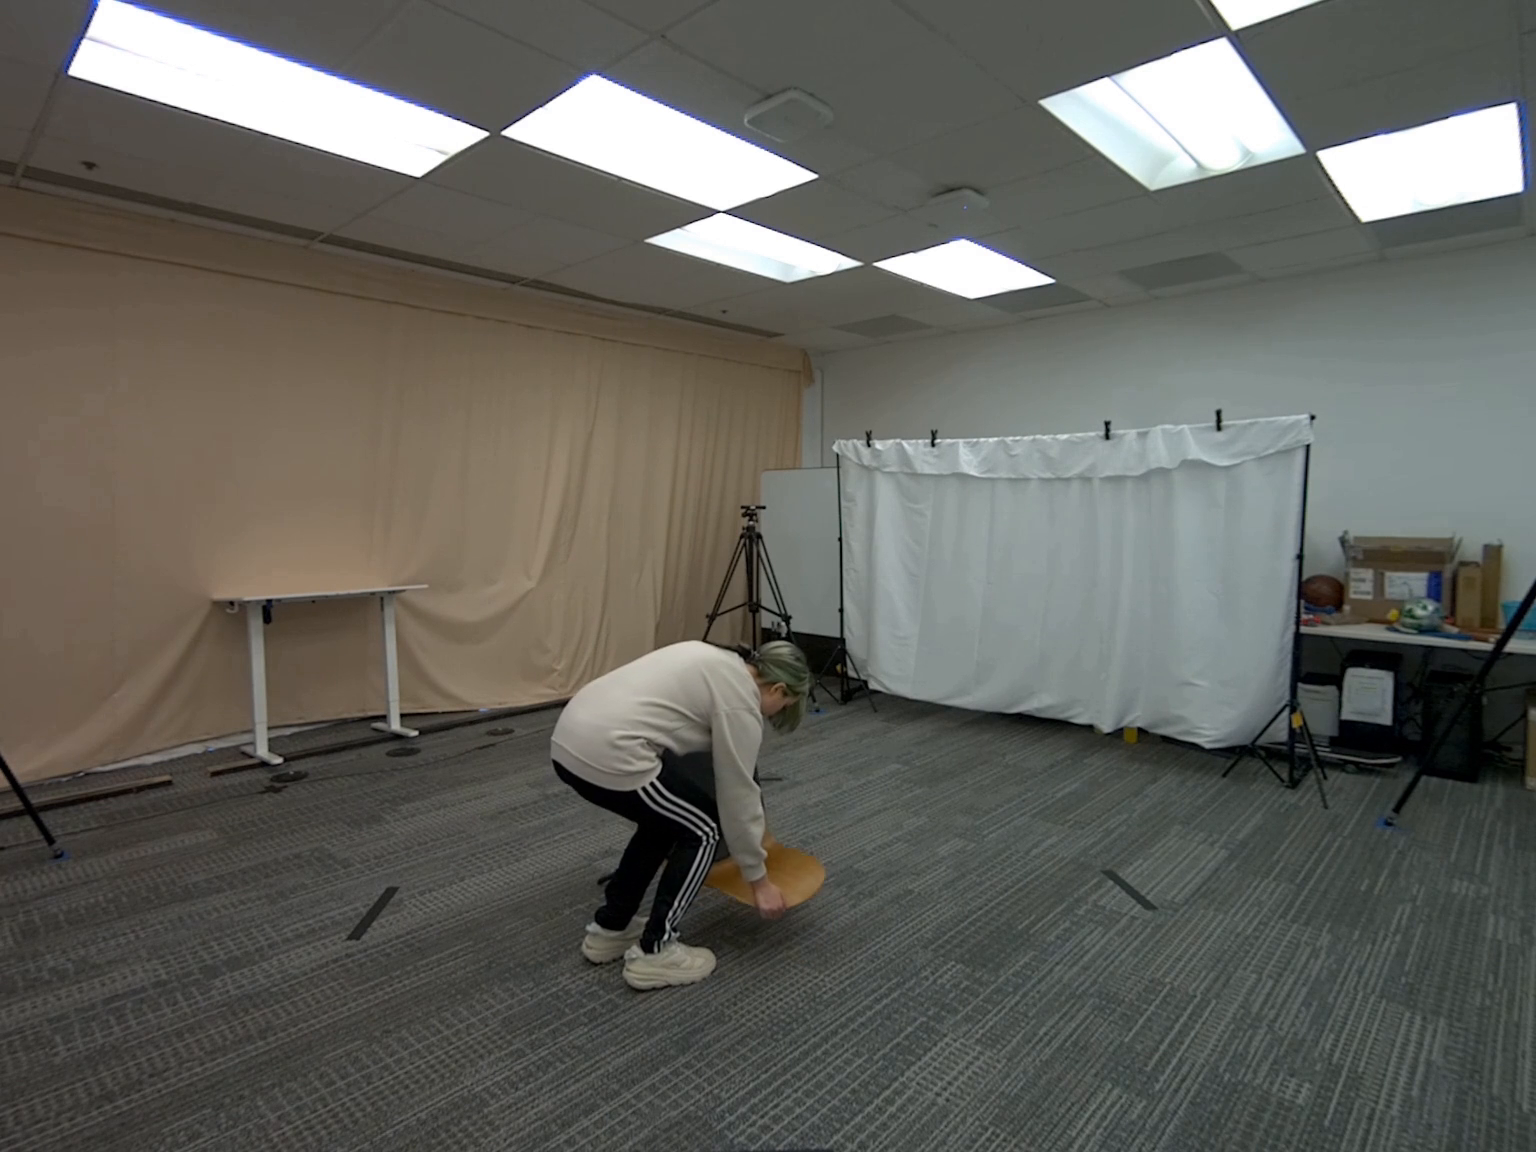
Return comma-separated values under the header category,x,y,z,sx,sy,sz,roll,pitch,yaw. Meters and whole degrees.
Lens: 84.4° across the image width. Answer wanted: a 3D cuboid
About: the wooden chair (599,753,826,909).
category,x,y,z,sx,sy,sz,roll,pitch,yaw
wooden chair,-0.230,0.812,2.950,0.464,0.525,0.901,-3,-5,-39
